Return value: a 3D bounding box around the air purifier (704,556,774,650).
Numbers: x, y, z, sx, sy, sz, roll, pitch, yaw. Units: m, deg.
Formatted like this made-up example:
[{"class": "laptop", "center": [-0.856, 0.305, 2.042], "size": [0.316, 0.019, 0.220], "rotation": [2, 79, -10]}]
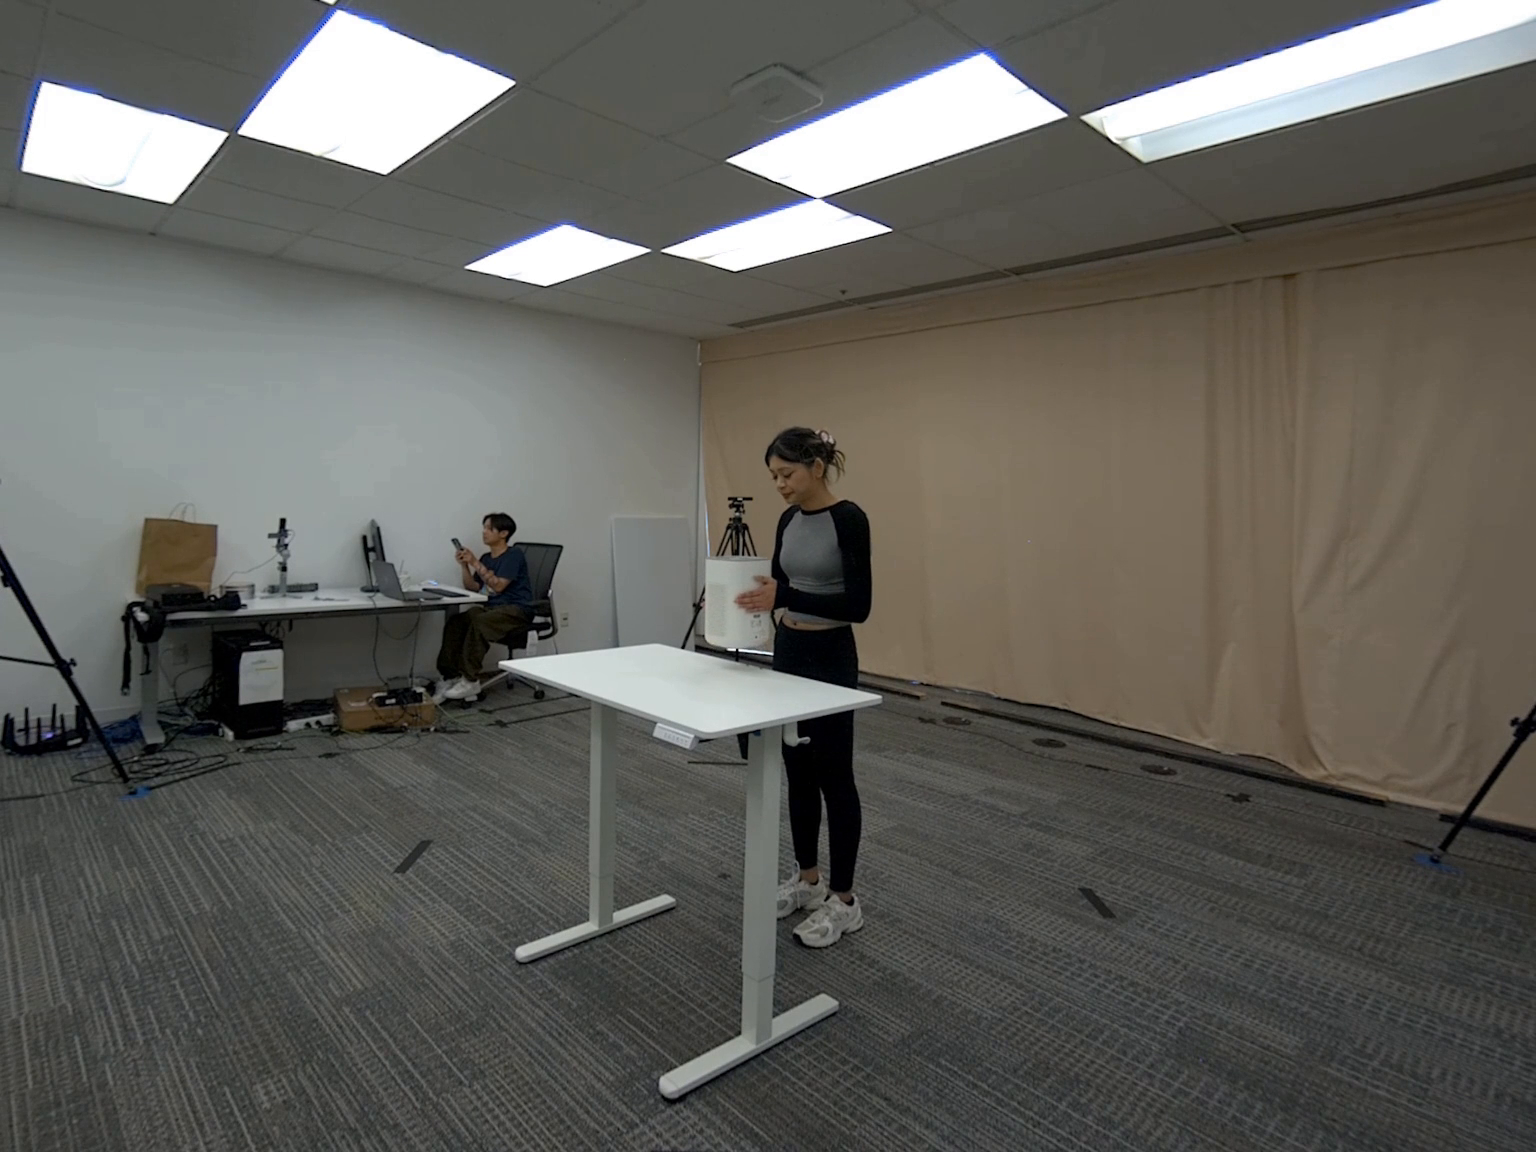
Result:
[{"class": "air purifier", "center": [-0.089, 0.079, 2.547], "size": [0.167, 0.265, 0.176], "rotation": [-2, 3, -45]}]
